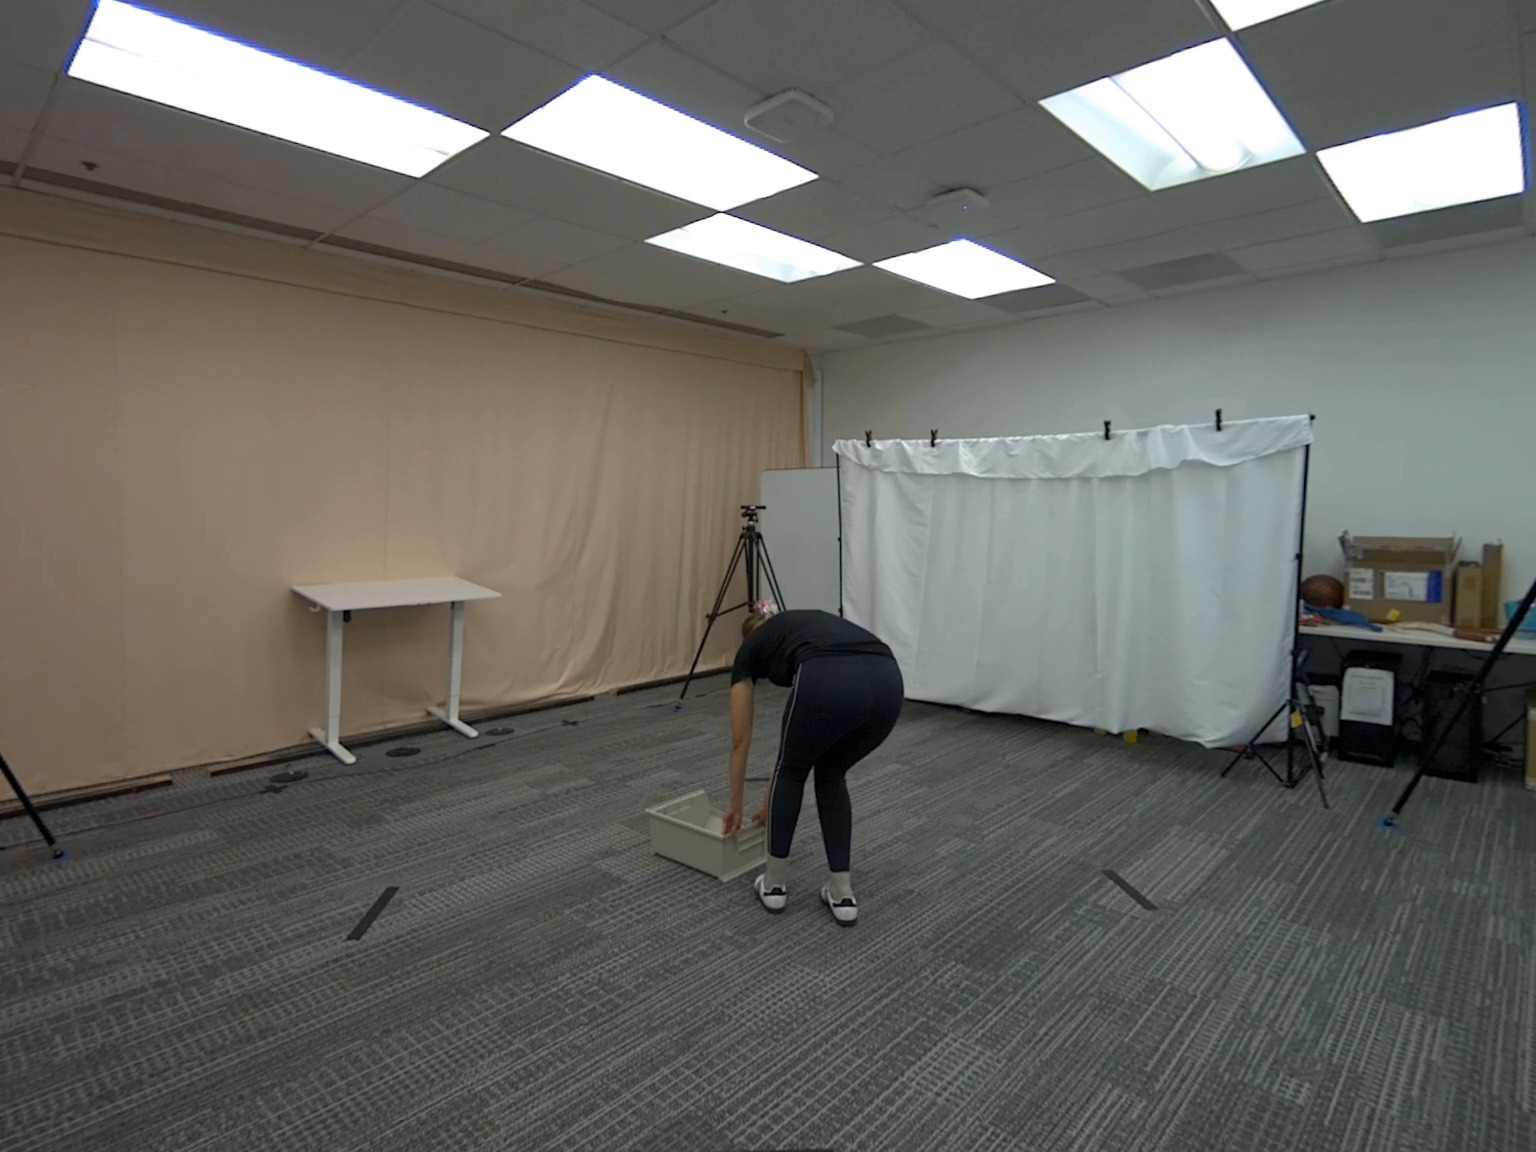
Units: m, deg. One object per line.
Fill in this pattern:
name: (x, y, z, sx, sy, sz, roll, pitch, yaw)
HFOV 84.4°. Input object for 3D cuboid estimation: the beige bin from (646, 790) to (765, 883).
beige bin: (-0.208, 1.024, 3.371, 0.436, 0.188, 0.366, 5, 8, 40)
